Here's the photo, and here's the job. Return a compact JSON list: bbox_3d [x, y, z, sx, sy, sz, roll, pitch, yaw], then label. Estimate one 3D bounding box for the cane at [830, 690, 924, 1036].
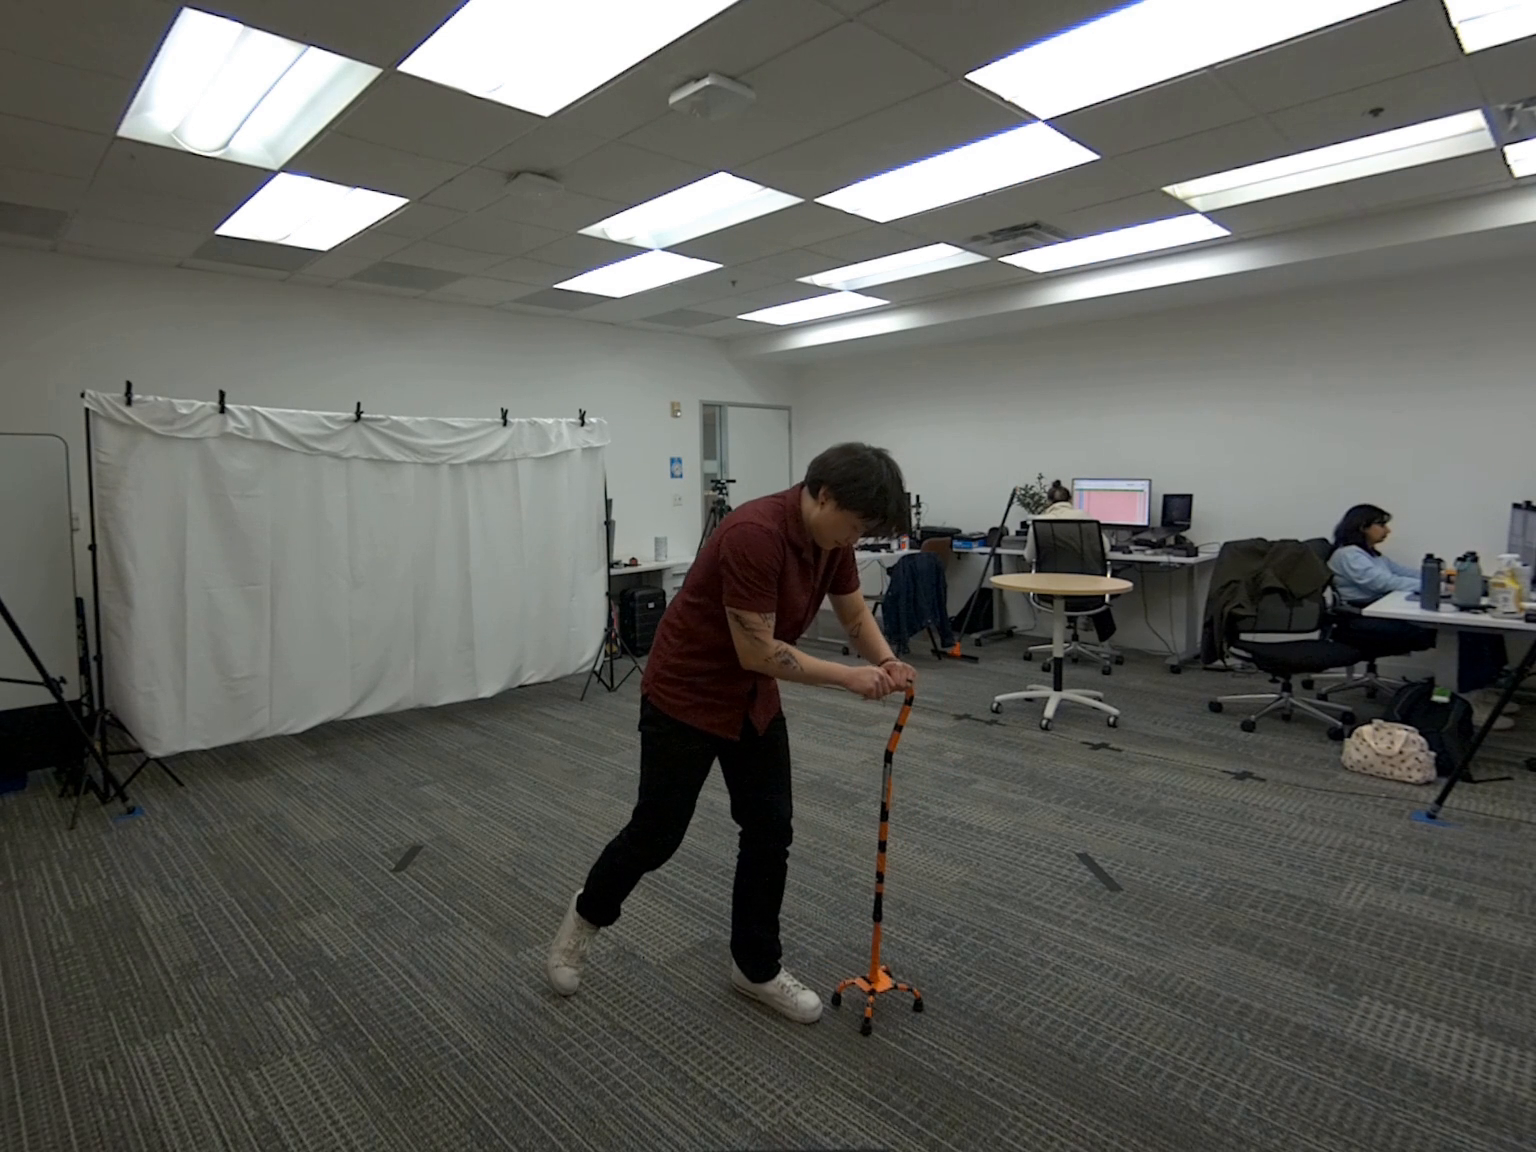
[{"bbox_3d":[0.311,0.687,2.178,0.201,0.900,0.156,-3,11,-32],"label":"cane"}]
